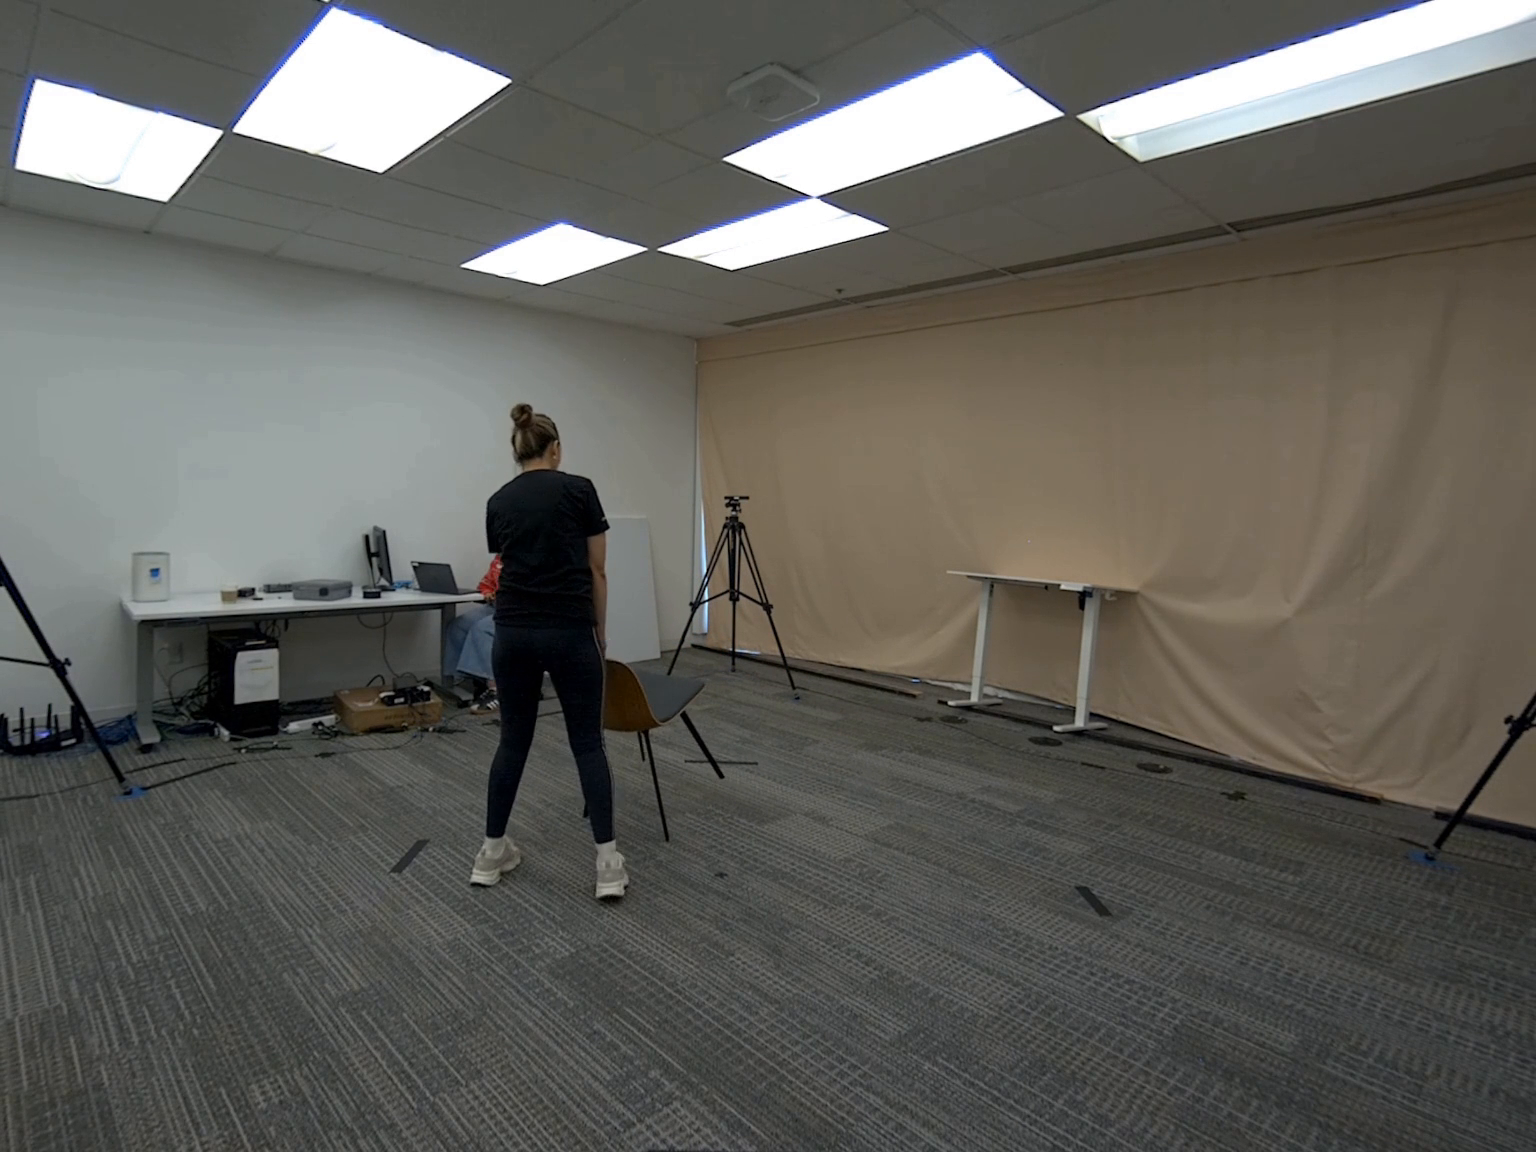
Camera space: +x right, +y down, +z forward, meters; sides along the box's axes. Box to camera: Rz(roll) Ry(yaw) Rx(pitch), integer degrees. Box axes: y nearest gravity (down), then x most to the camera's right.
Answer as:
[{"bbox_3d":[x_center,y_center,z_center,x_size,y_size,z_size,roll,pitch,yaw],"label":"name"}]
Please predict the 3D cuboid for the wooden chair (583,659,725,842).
[{"bbox_3d":[-0.552,0.575,3.552,0.489,0.861,0.521,4,27,31],"label":"wooden chair"}]
